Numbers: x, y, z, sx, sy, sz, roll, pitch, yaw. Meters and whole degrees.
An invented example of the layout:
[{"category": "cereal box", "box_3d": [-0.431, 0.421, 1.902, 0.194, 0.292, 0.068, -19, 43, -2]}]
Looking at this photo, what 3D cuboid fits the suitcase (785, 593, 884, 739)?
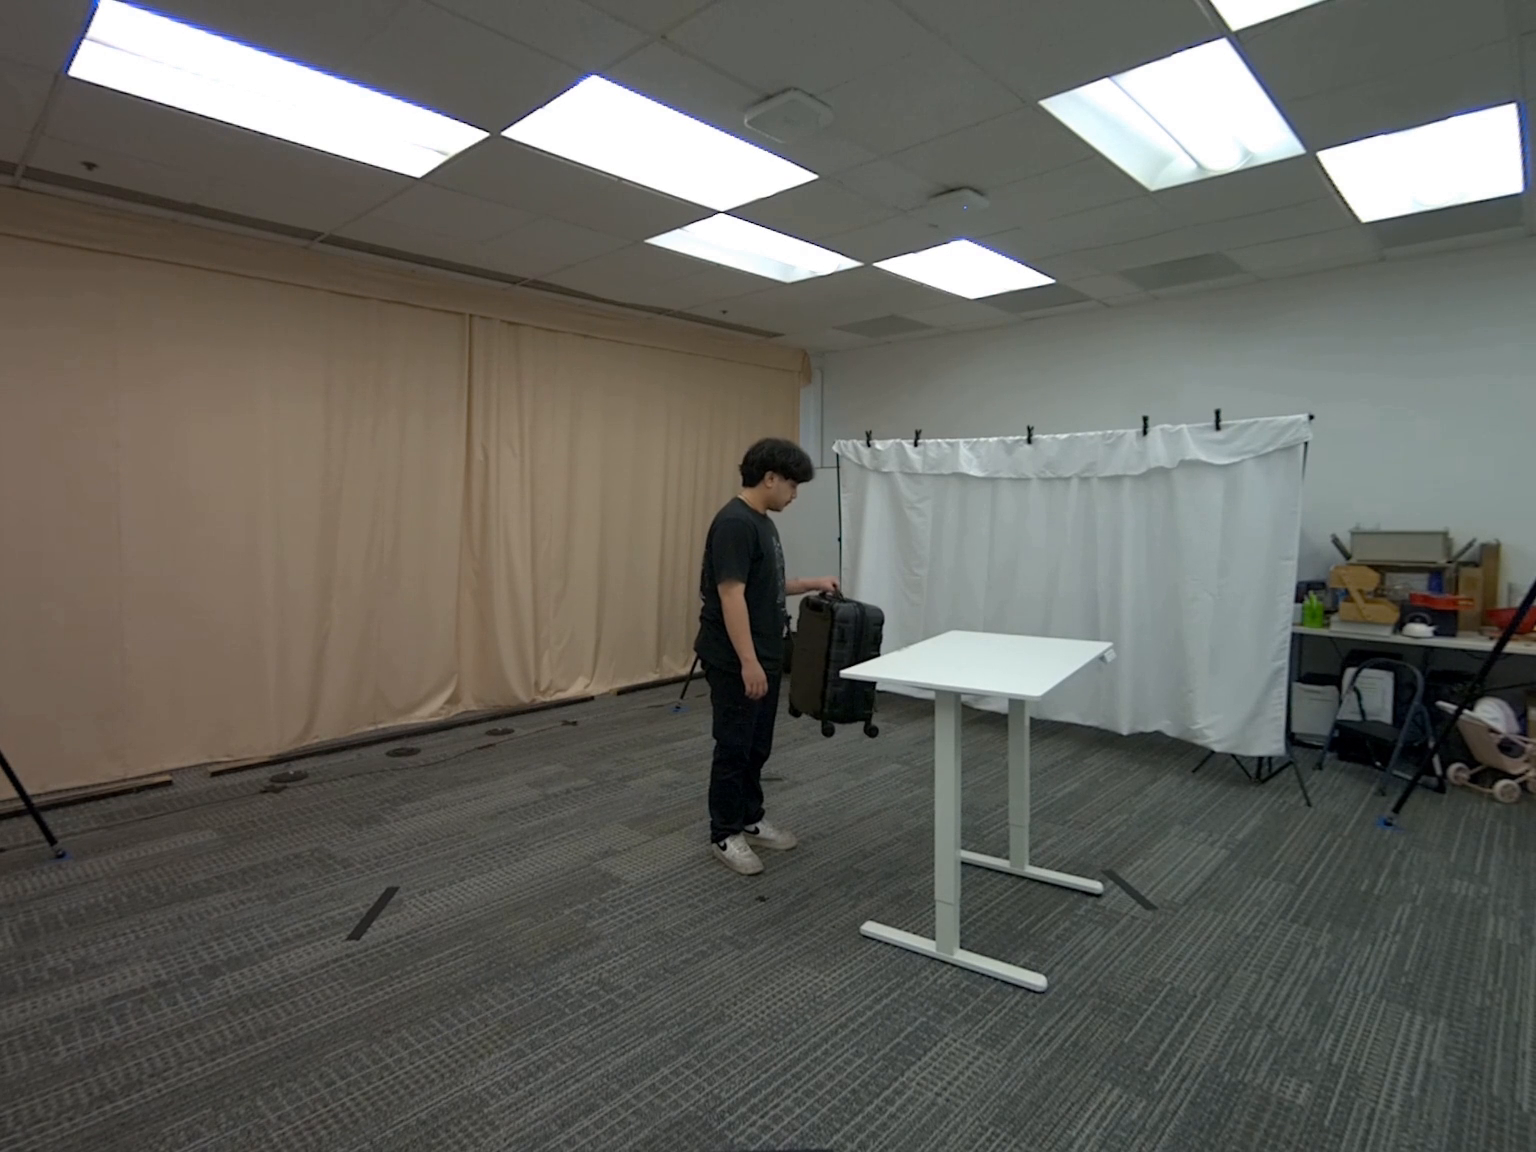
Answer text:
[{"category": "suitcase", "box_3d": [0.284, 0.354, 3.539, 0.242, 0.549, 0.385, 5, 2, -25]}]
